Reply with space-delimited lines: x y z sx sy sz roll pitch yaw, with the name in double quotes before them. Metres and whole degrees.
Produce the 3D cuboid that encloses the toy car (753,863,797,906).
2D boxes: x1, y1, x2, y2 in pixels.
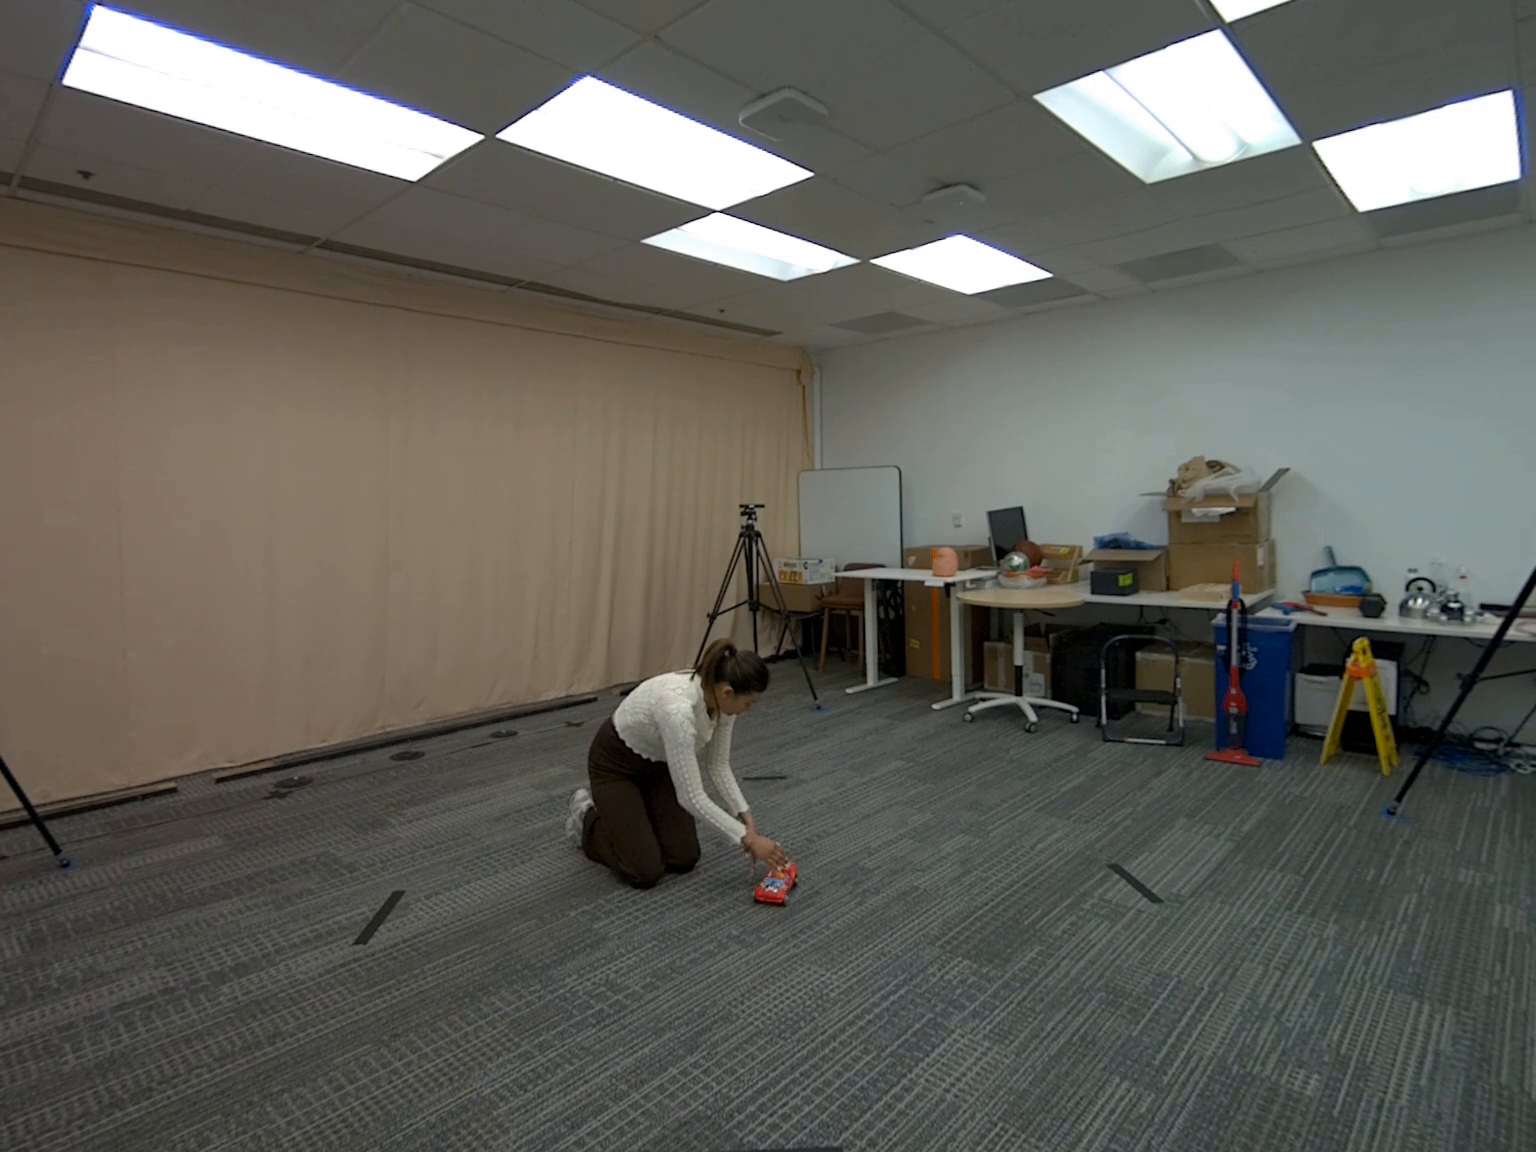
"toy car" 0.039 1.106 3.019 0.133 0.082 0.252 0 15 19
